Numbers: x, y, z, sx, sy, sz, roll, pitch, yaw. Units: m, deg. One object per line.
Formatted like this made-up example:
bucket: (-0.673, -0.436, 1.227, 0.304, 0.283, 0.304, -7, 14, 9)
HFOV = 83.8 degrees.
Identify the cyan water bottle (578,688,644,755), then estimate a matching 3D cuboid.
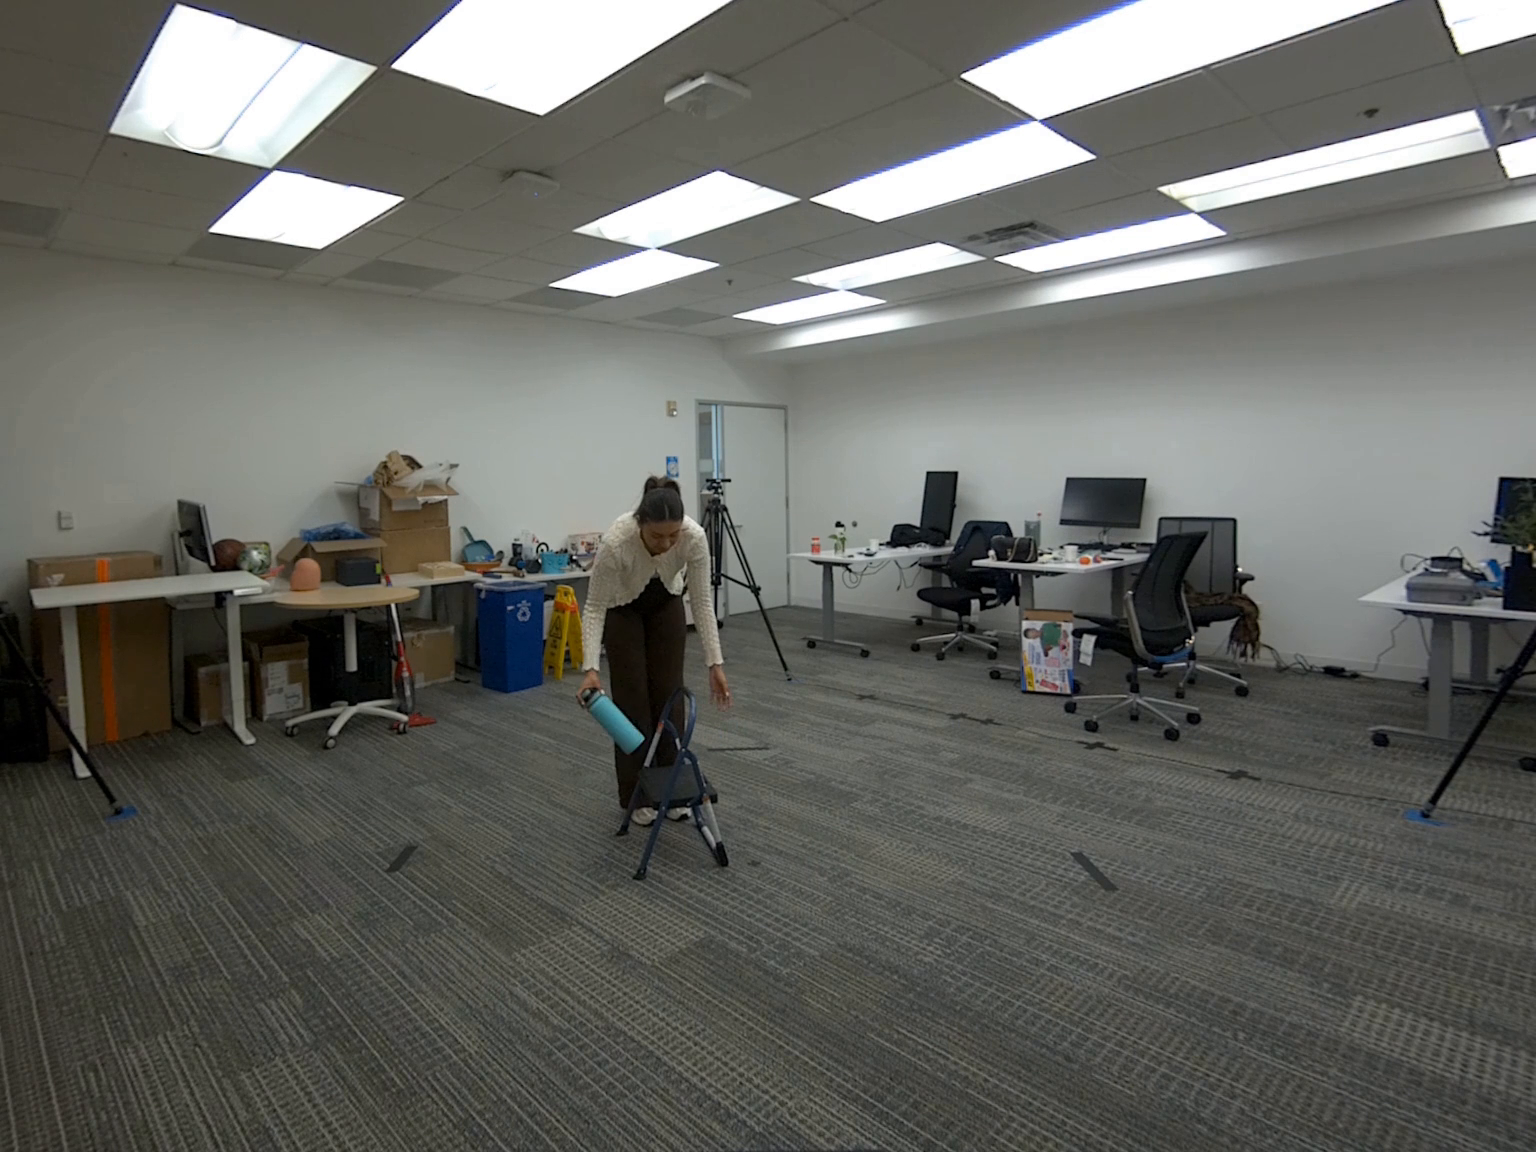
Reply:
cyan water bottle: (-0.592, 0.542, 3.222, 0.092, 0.284, 0.092, -41, -1, -2)
